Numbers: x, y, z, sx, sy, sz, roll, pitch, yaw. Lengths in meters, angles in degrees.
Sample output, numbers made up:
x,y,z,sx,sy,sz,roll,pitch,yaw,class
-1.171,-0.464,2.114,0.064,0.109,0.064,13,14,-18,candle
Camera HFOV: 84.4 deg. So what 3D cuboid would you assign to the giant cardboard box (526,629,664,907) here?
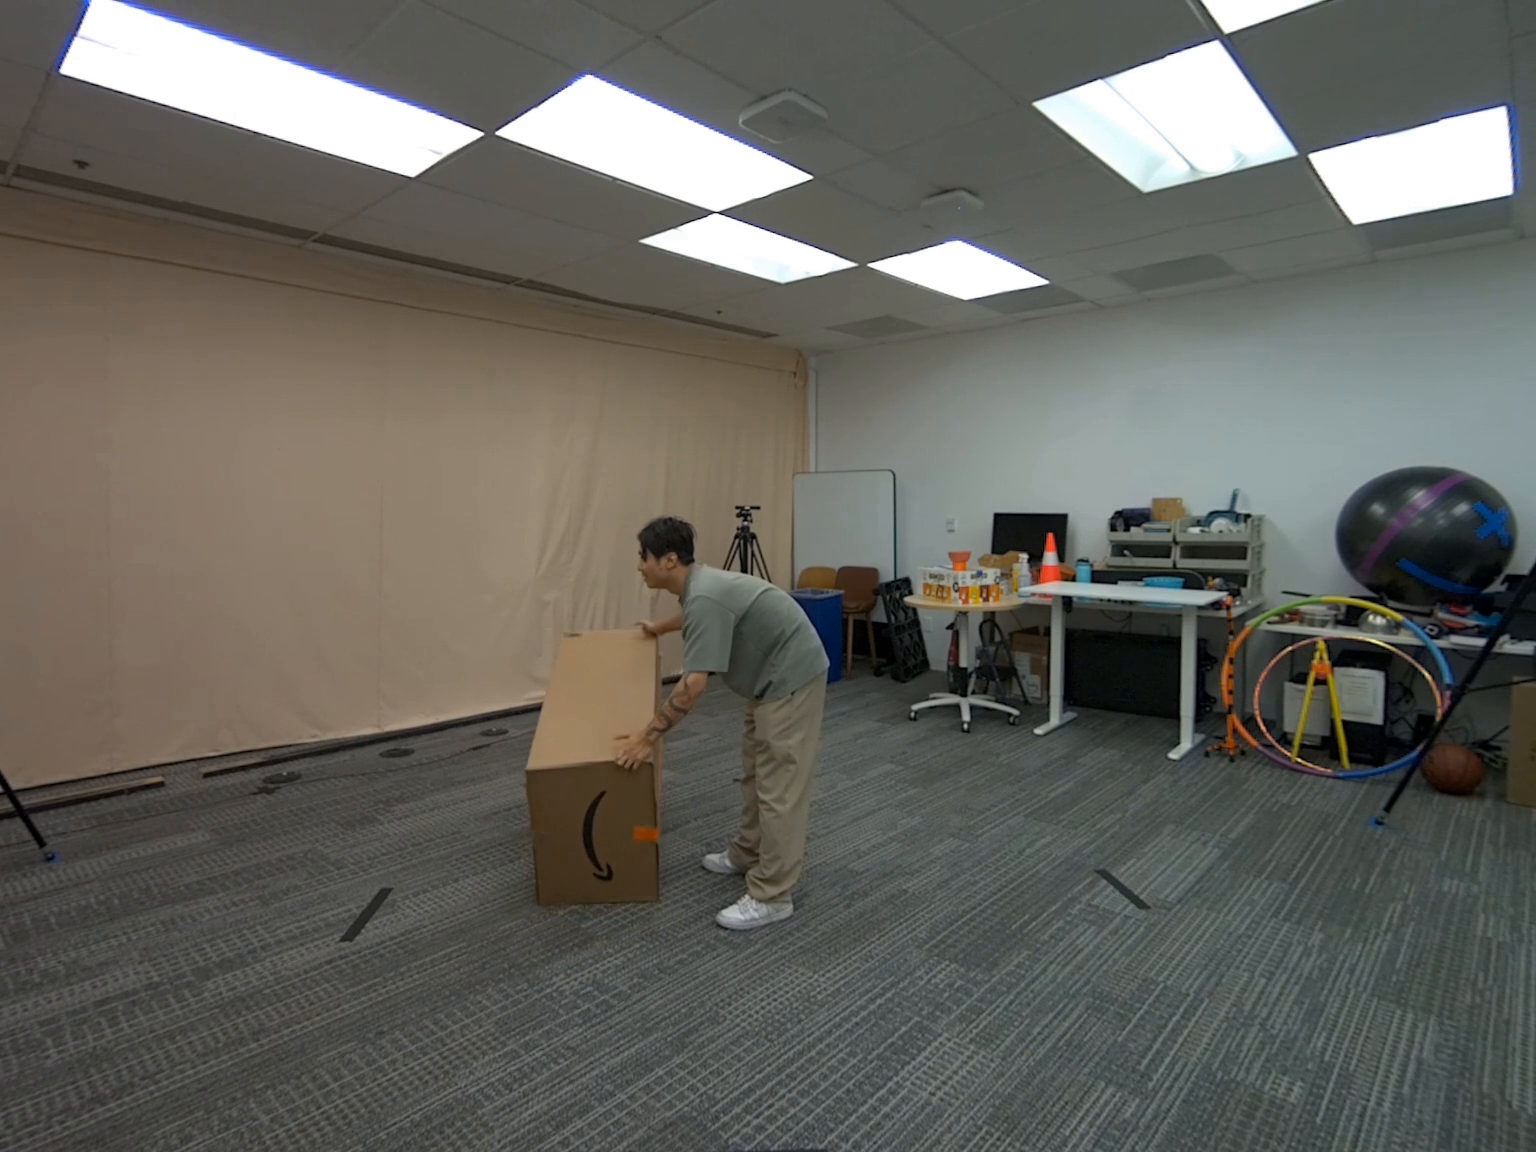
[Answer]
x,y,z,sx,sy,sz,roll,pitch,yaw,class
-0.641,0.688,3.333,0.424,0.571,1.044,-1,21,-7,giant cardboard box
